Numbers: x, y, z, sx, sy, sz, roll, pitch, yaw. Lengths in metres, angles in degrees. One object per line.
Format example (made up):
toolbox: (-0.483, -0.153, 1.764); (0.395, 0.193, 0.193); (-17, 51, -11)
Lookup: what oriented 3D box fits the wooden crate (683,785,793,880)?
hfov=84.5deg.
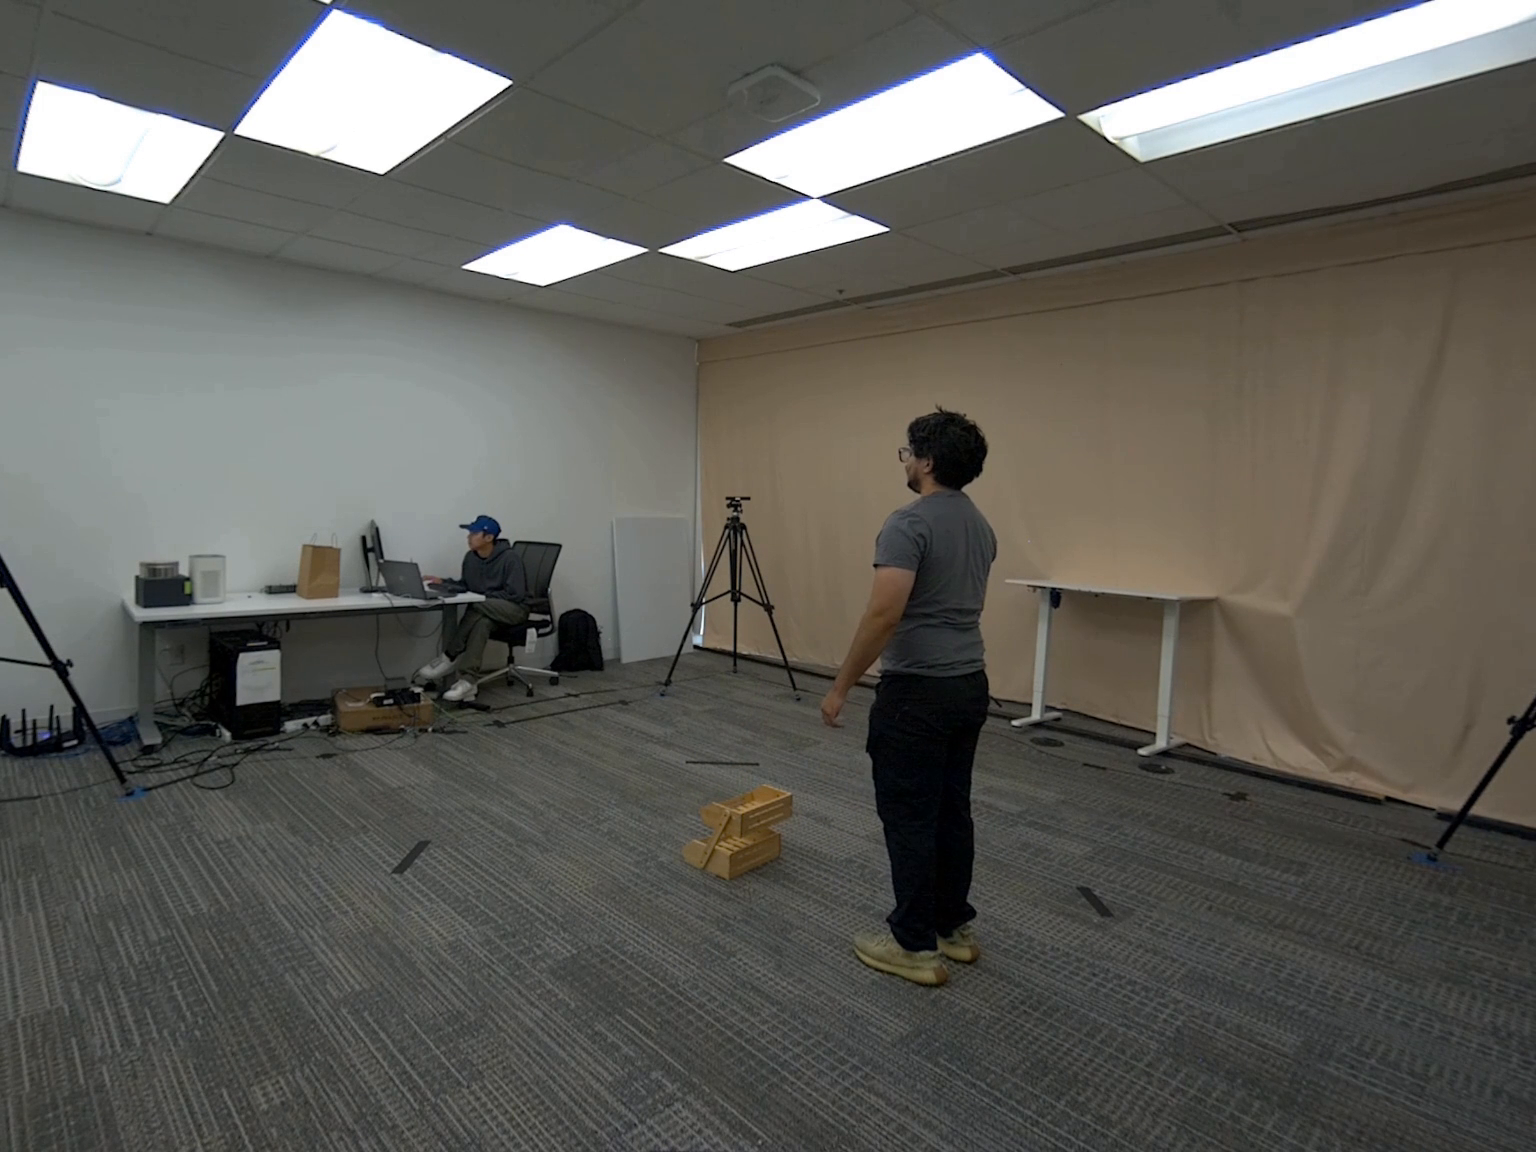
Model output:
wooden crate: (-0.127, 0.961, 3.238); (0.310, 0.272, 0.317); (5, 5, 41)
